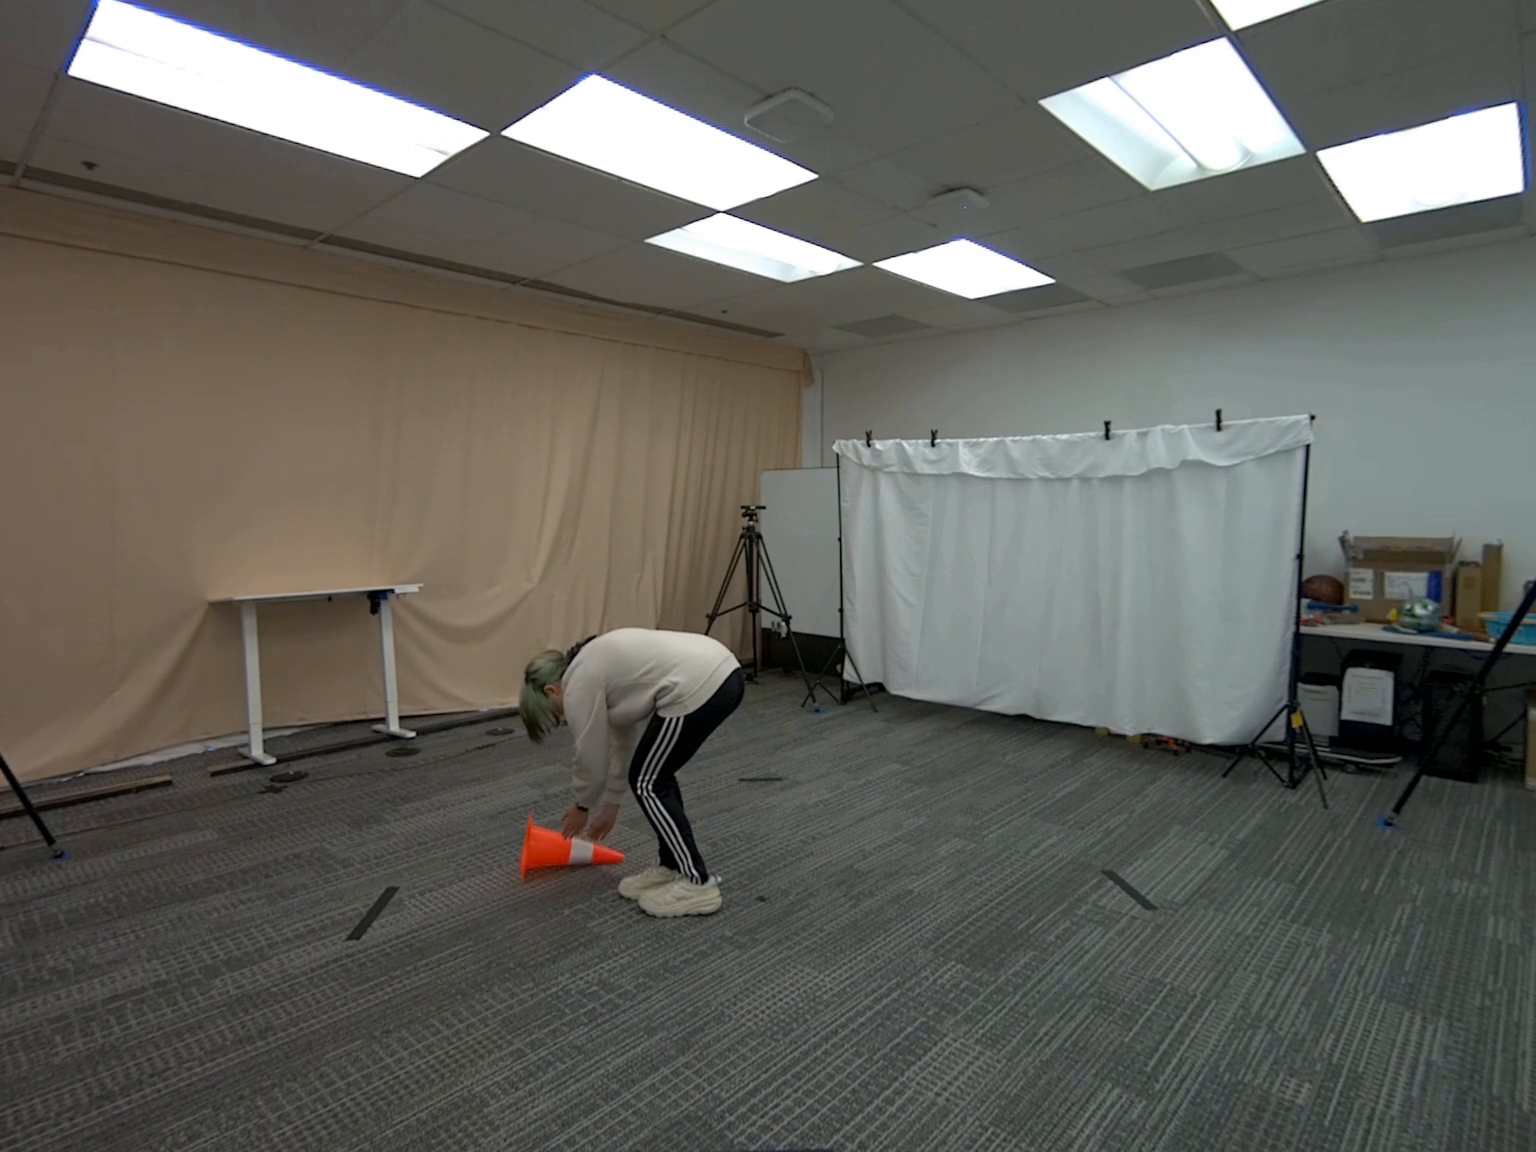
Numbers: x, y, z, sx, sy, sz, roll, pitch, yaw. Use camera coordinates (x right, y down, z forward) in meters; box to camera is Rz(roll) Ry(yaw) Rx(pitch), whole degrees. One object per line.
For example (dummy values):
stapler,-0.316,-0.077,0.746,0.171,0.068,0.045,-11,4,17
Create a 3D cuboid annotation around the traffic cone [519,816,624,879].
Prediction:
traffic cone,-0.747,1.069,3.259,0.377,0.203,0.208,12,0,-15
